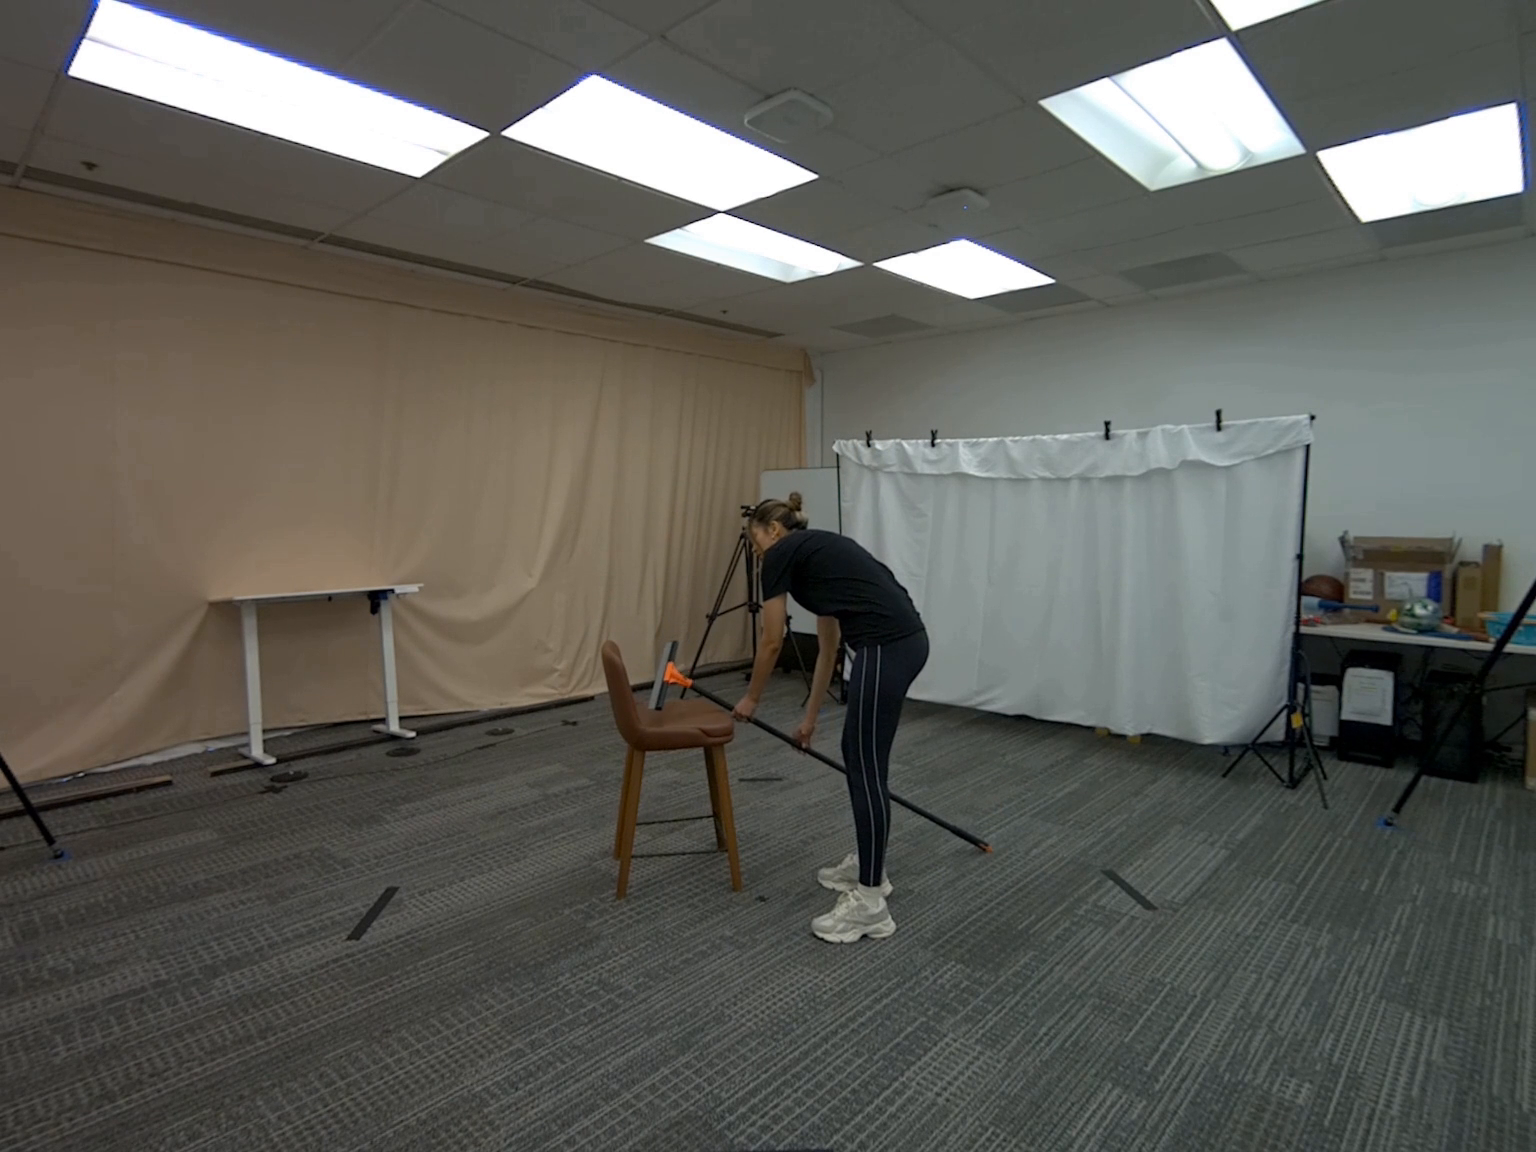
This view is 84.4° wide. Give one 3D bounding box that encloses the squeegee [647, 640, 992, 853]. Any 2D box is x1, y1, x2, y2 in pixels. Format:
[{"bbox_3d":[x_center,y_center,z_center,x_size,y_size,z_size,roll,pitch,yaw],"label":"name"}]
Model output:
[{"bbox_3d":[0.255,0.732,3.282,1.524,0.053,0.440,29,-35,-7],"label":"squeegee"}]
